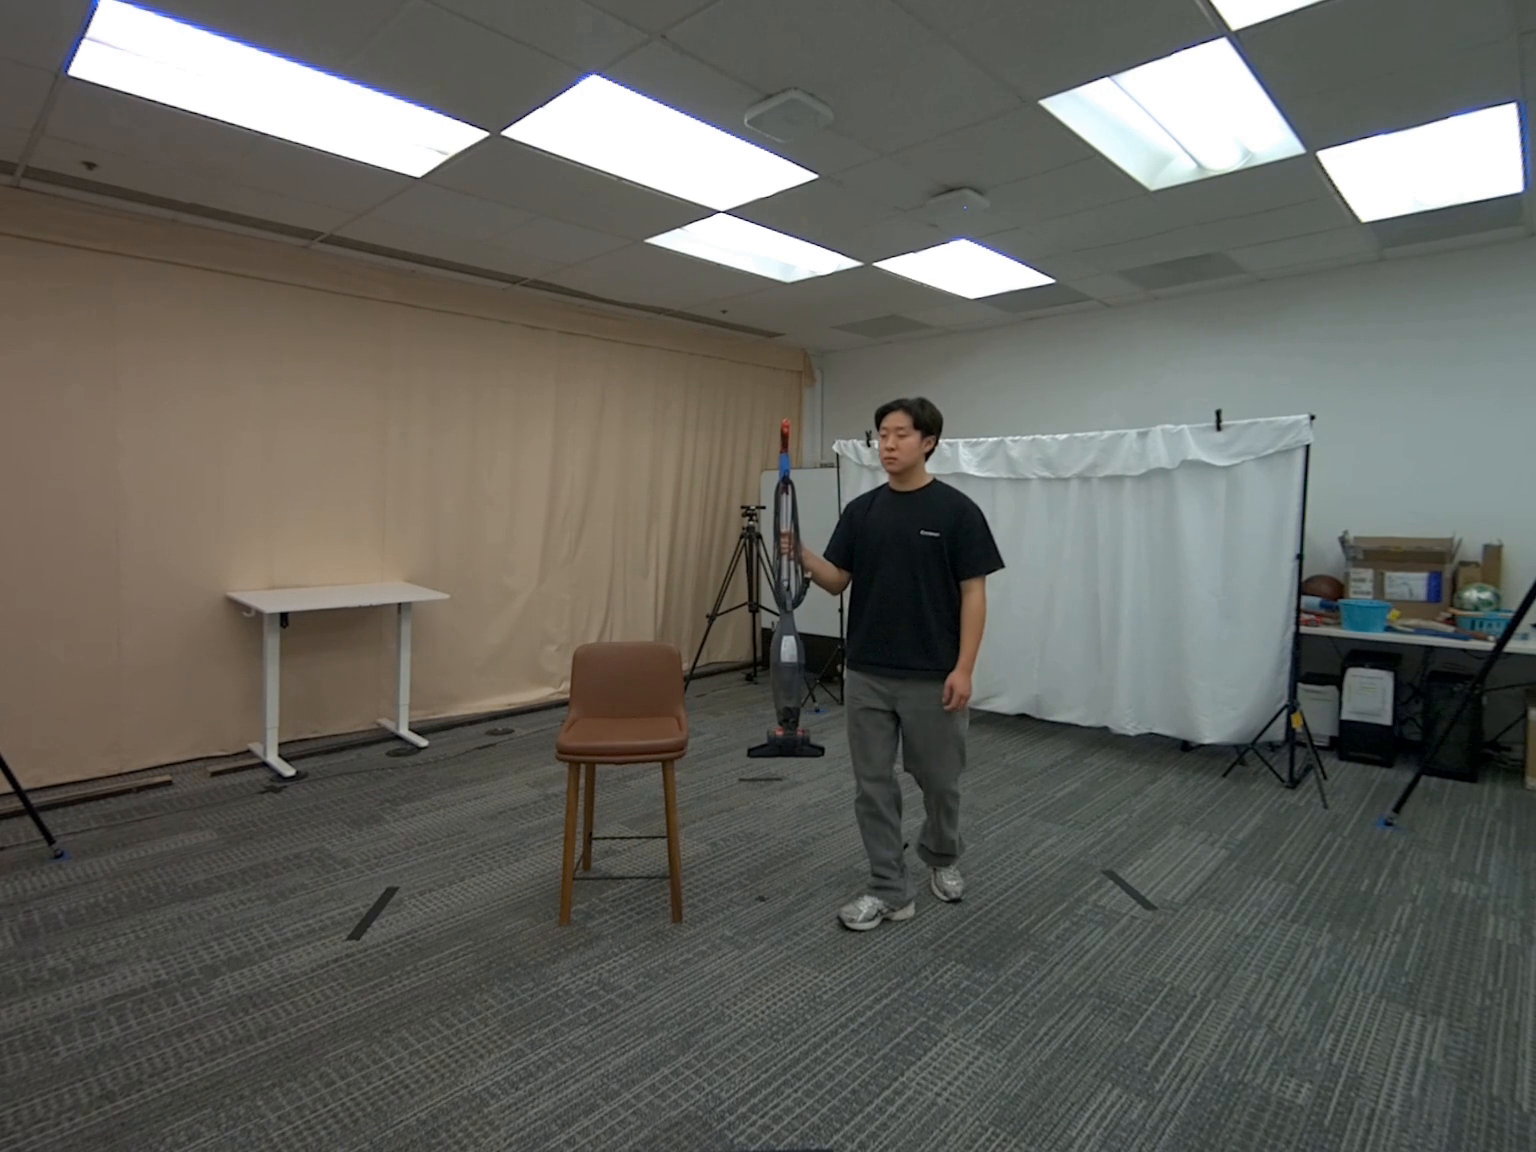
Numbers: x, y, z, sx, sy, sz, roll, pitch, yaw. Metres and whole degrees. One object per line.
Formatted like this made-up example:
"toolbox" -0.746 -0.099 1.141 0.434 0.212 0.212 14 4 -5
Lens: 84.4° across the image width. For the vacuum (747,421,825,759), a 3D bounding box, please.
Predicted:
"vacuum" 0.068 0.027 2.725 0.250 1.050 0.145 0 -1 -11
